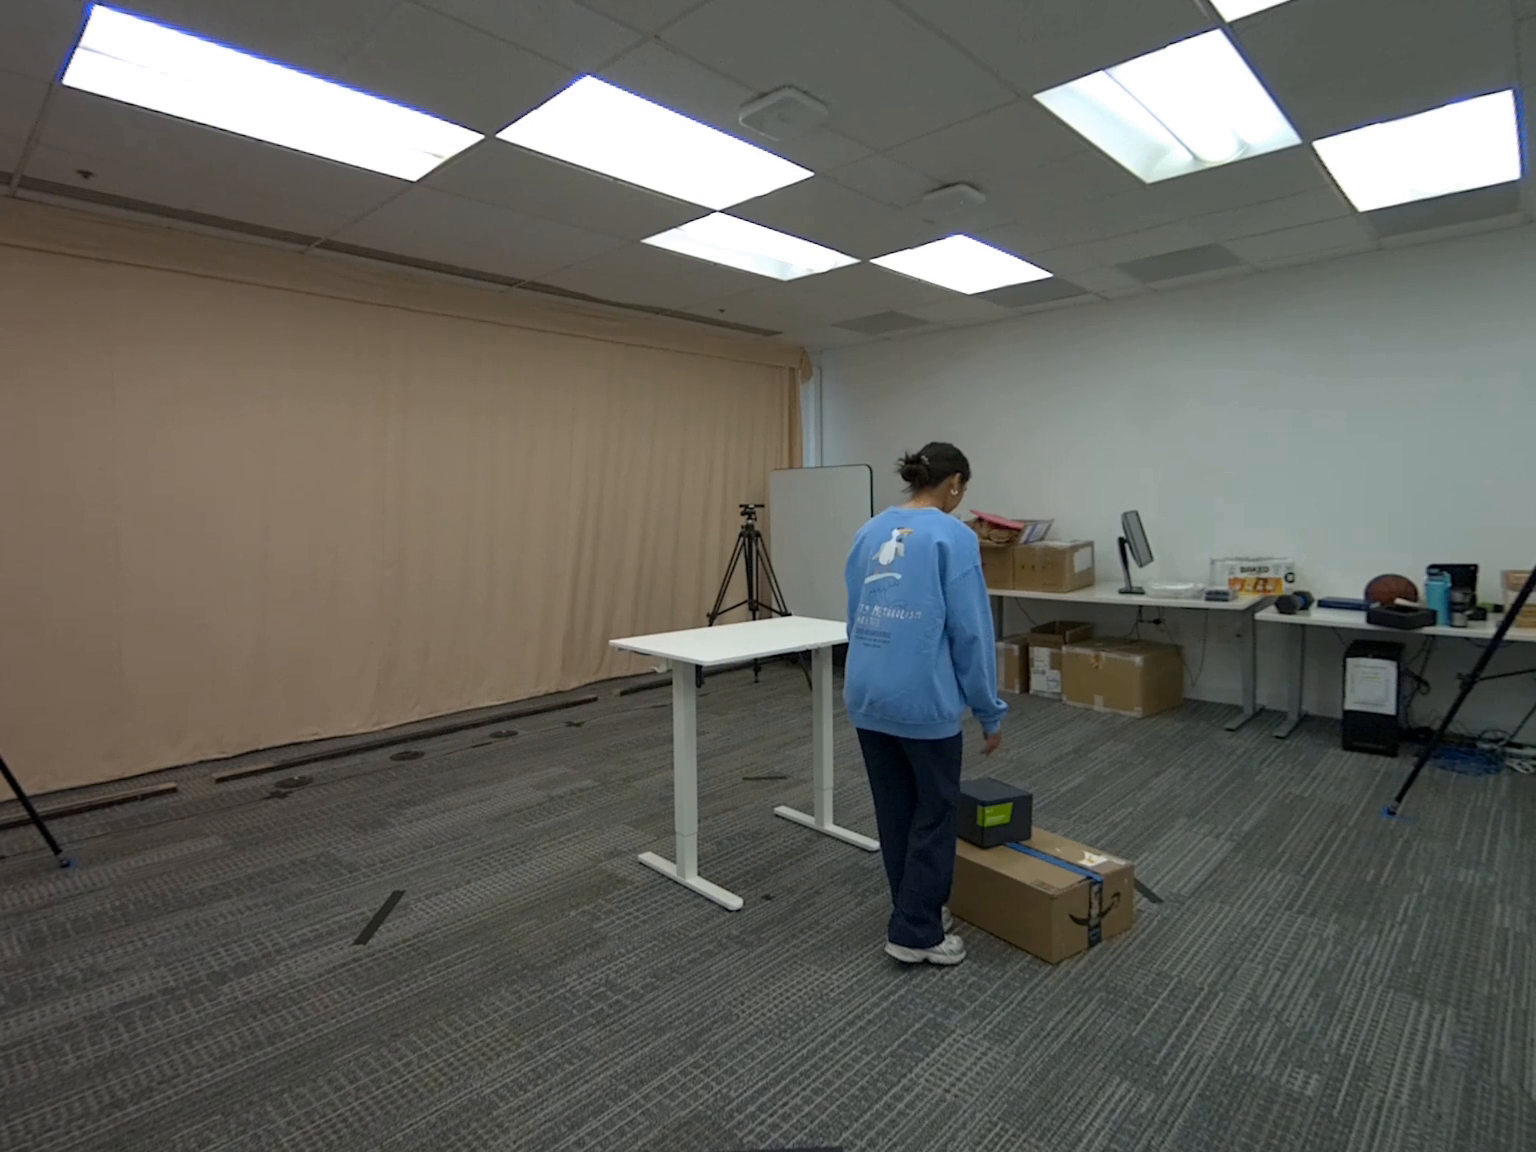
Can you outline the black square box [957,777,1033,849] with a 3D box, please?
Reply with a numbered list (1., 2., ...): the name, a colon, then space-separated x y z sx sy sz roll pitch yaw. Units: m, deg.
1. black square box: 0.769 0.822 2.959 0.222 0.156 0.223 1 2 -28
